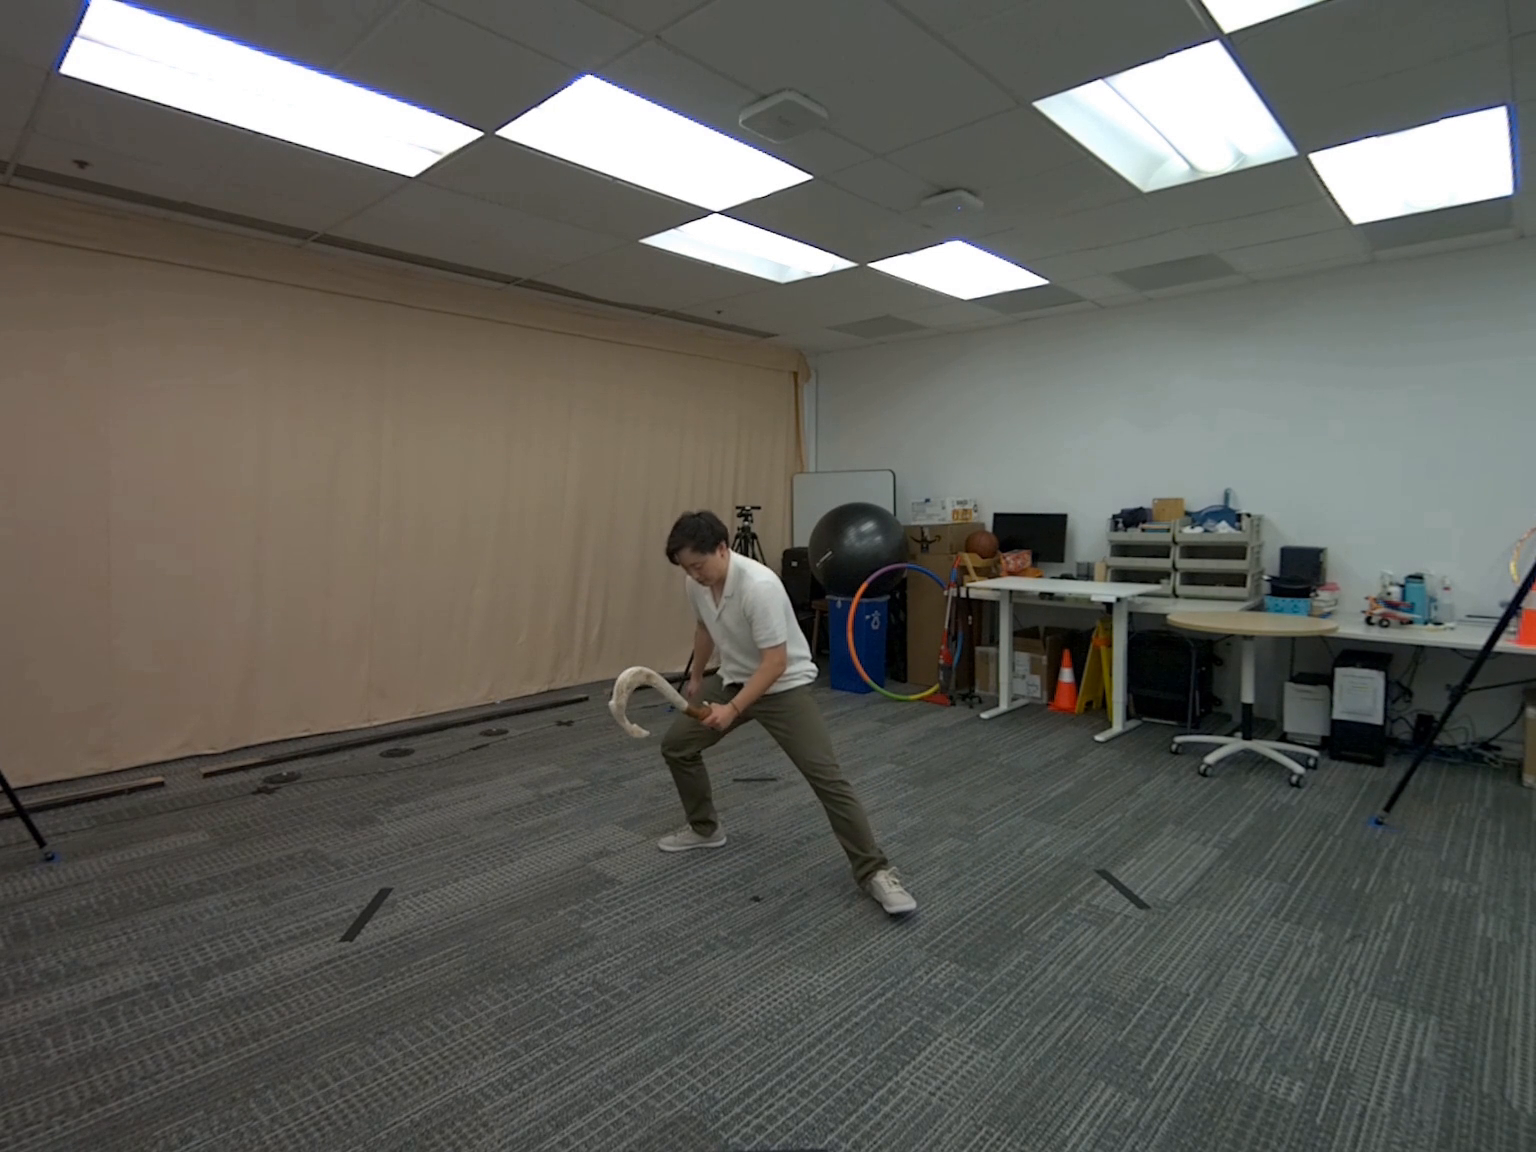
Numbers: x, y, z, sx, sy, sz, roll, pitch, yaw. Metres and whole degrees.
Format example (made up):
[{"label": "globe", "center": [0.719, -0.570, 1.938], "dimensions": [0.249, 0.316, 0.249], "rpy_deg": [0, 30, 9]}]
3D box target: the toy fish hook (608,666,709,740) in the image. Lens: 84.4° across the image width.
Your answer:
[{"label": "toy fish hook", "center": [-0.332, 0.481, 2.874], "dimensions": [0.489, 0.225, 0.050], "rpy_deg": [32, -18, -35]}]
